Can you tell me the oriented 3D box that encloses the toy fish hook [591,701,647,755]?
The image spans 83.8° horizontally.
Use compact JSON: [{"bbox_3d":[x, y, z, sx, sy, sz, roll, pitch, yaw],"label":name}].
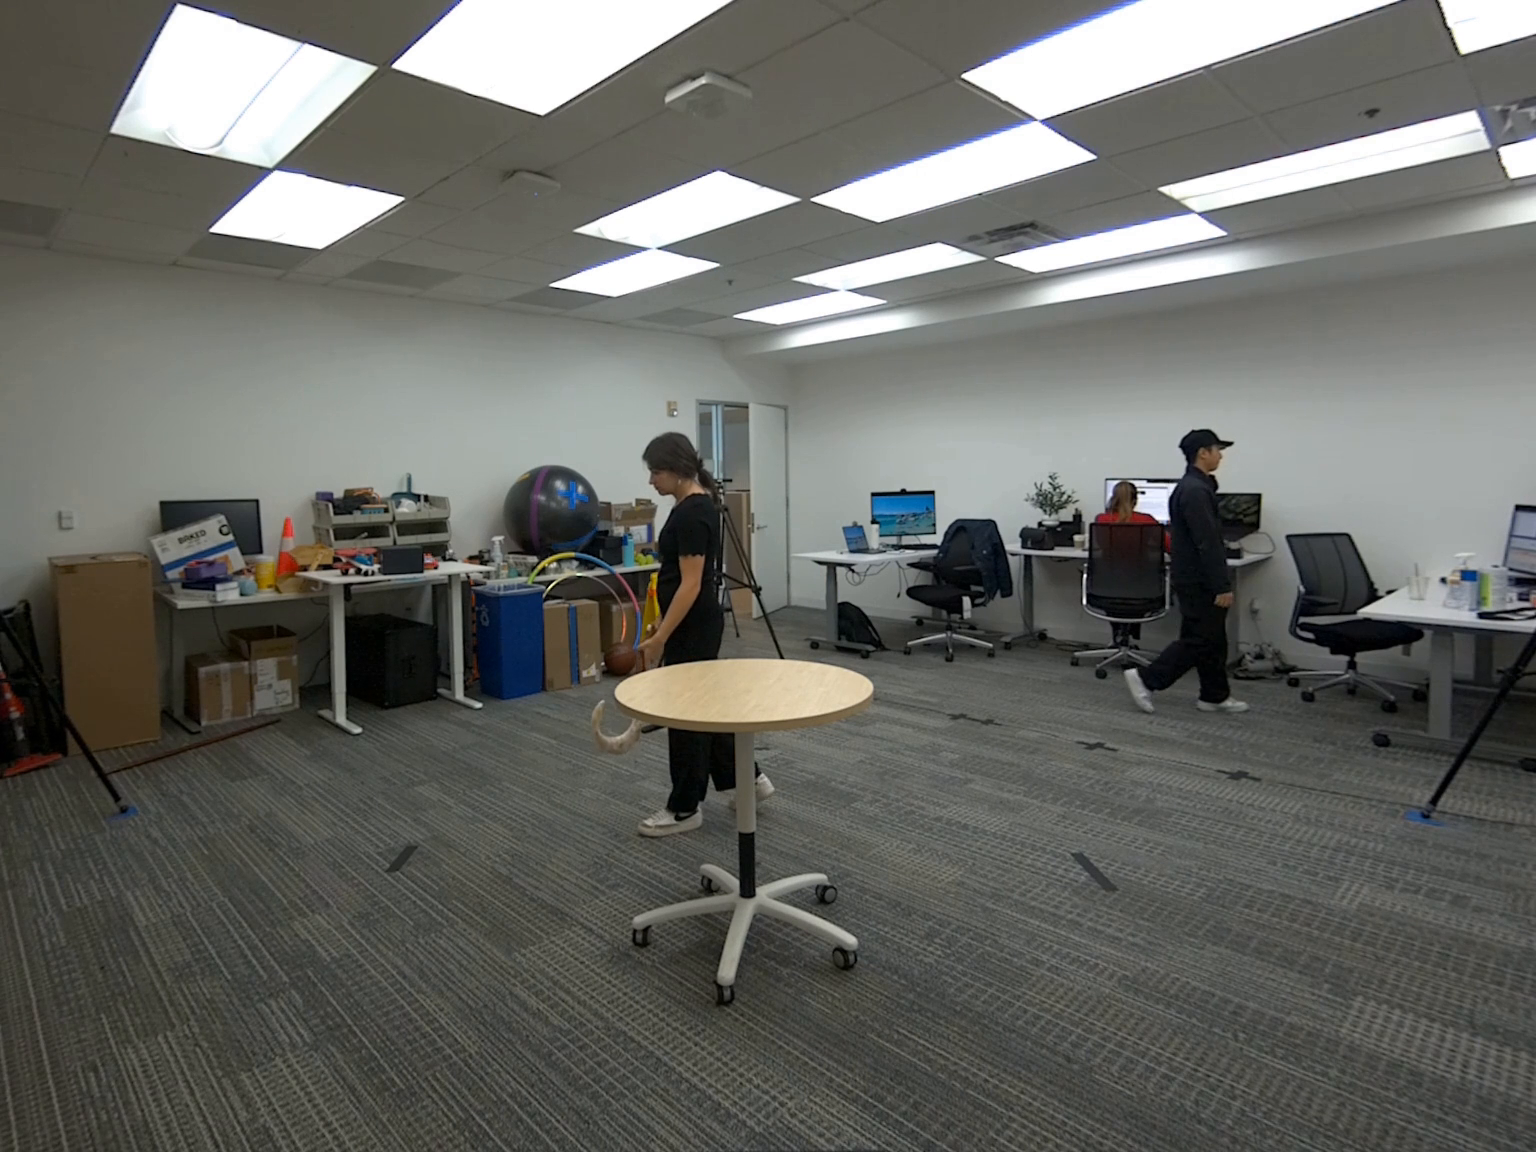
[{"bbox_3d":[-0.540,0.408,3.173,0.217,0.507,0.050,15,-2,-43],"label":"toy fish hook"}]
